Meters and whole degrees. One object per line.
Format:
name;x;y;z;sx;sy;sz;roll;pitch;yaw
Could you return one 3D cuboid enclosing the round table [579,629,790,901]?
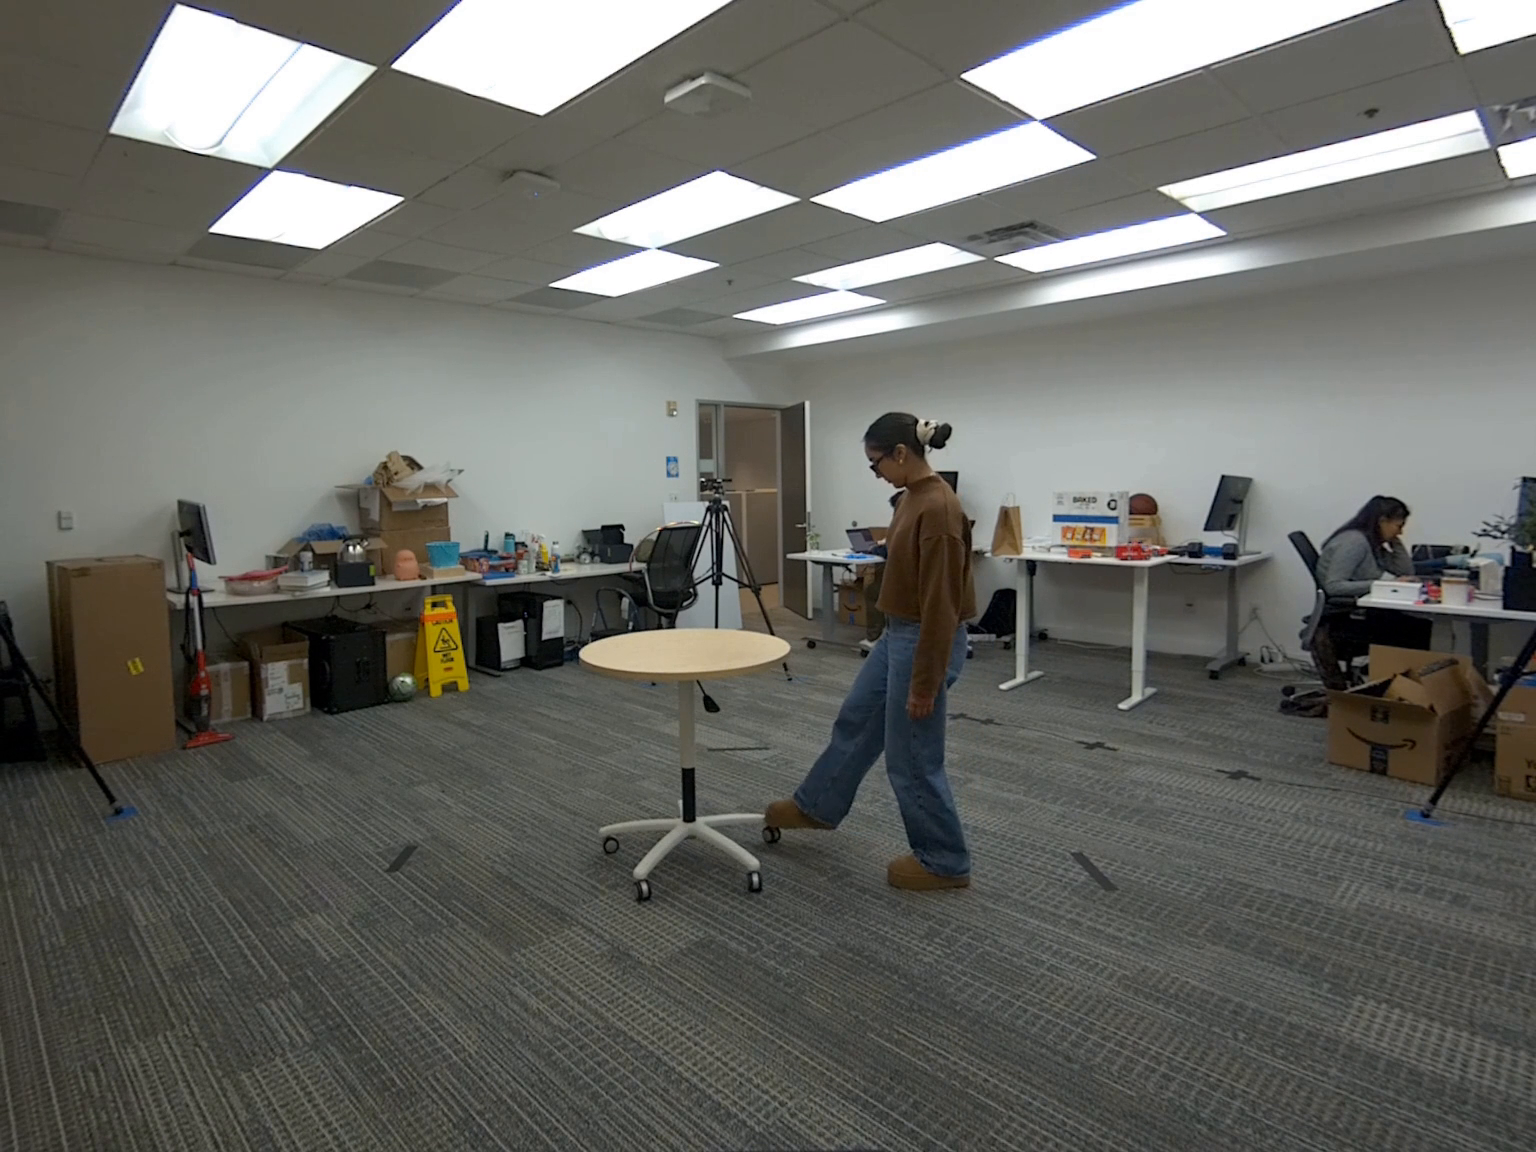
round table;-0.283;0.655;3.128;0.763;0.790;0.768;-1;5;-2
